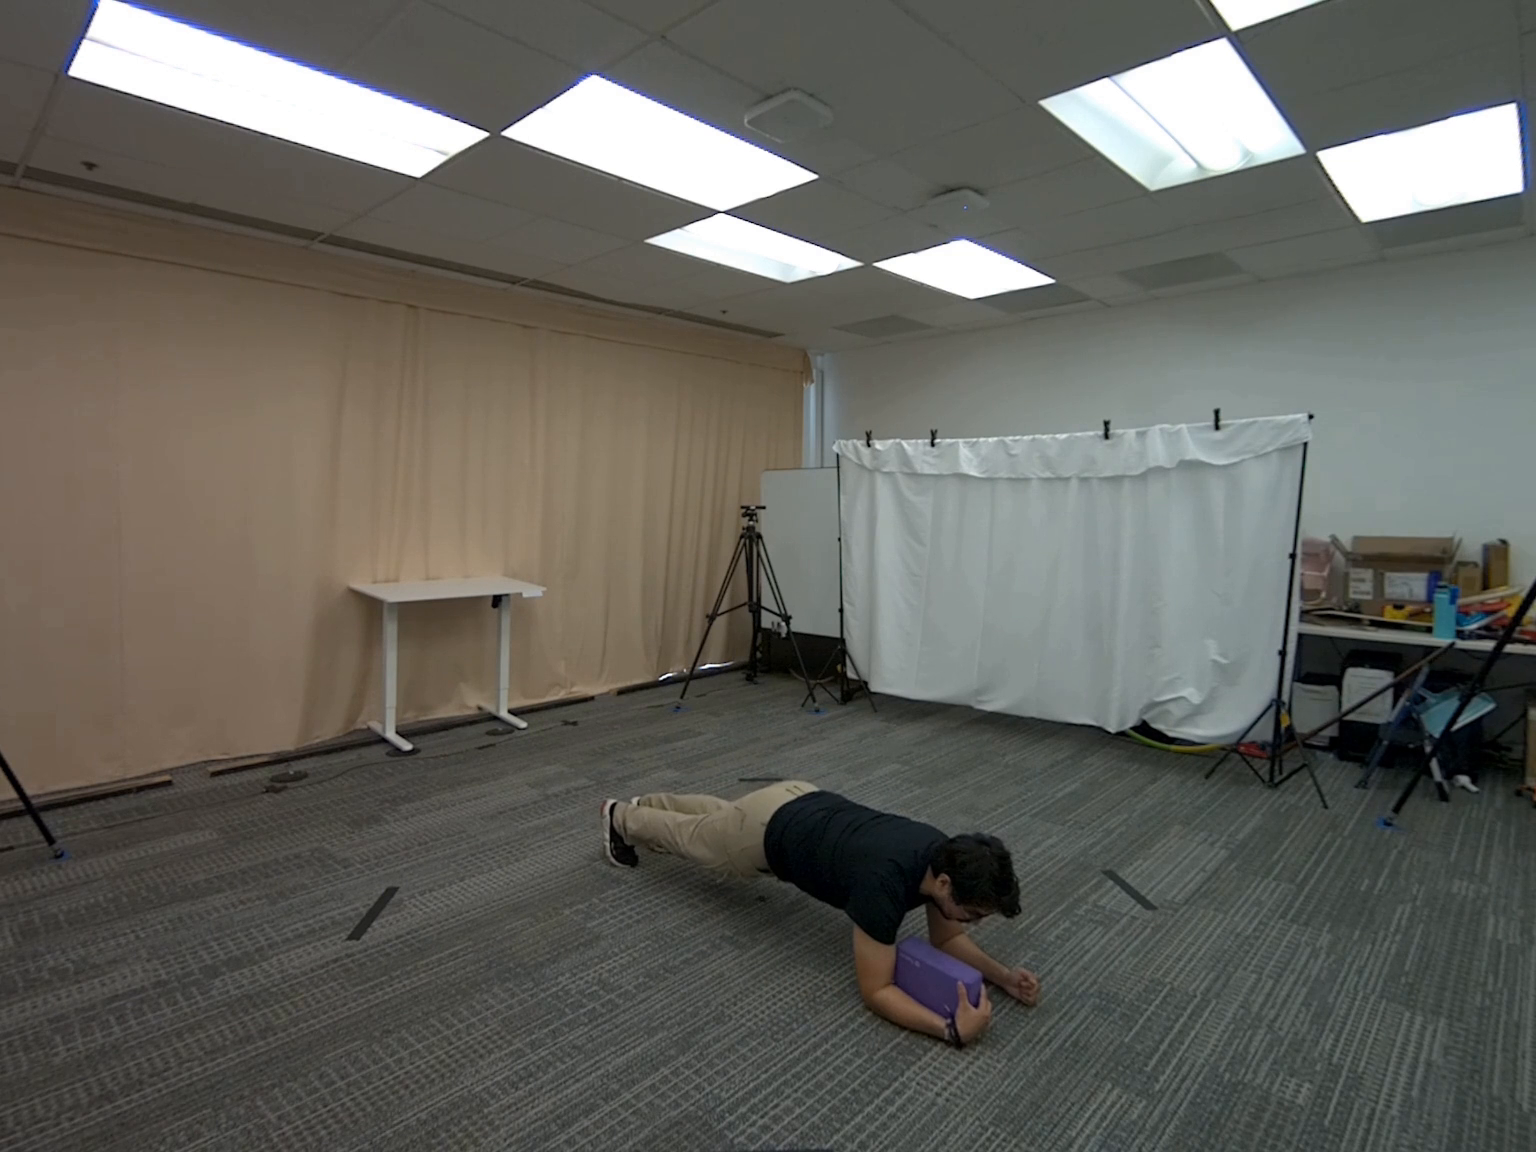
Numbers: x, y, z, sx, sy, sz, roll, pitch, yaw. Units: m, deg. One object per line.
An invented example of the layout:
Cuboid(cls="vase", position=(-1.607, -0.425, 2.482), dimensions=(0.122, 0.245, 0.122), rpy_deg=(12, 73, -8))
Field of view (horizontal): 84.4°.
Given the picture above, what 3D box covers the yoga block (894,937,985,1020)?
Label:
Cuboid(cls="yoga block", position=(0.462, 1.106, 2.284), dimensions=(0.074, 0.148, 0.237), rpy_deg=(0, 7, -45))
